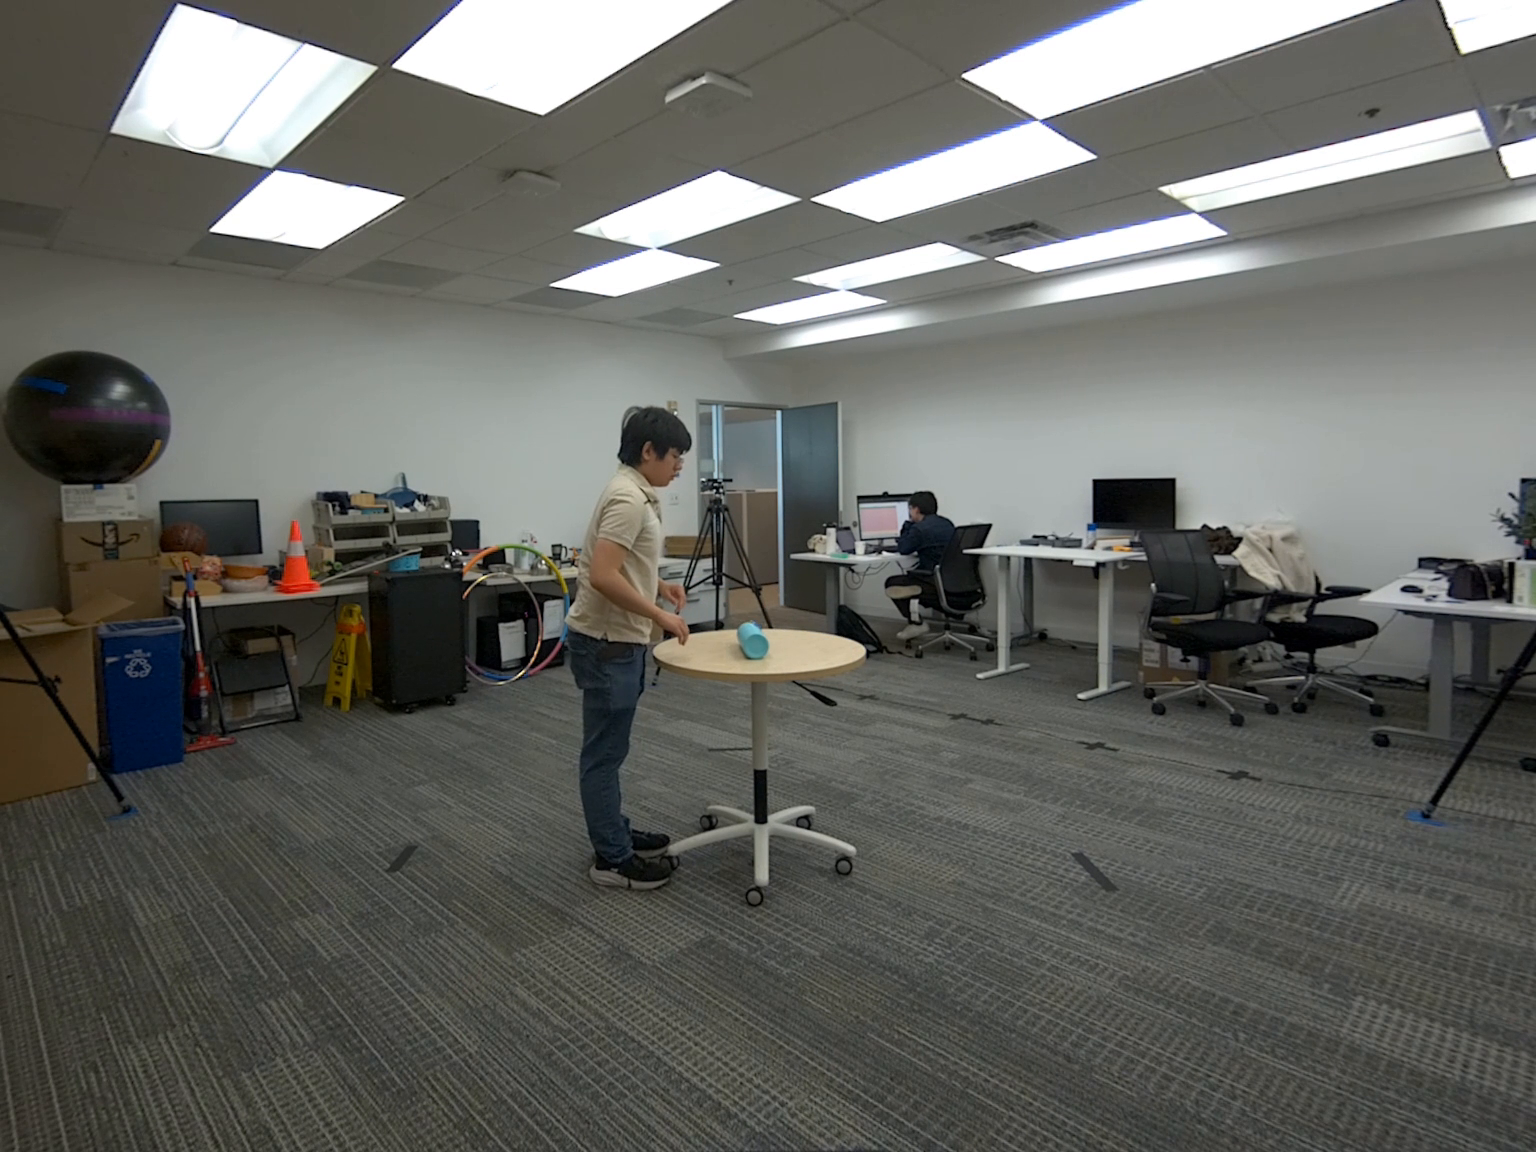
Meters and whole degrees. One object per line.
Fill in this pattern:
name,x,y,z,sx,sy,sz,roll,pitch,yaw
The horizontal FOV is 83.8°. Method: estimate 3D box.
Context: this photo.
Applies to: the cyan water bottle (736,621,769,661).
cyan water bottle,-0.062,0.223,3.042,0.092,0.092,0.286,-2,6,-8
